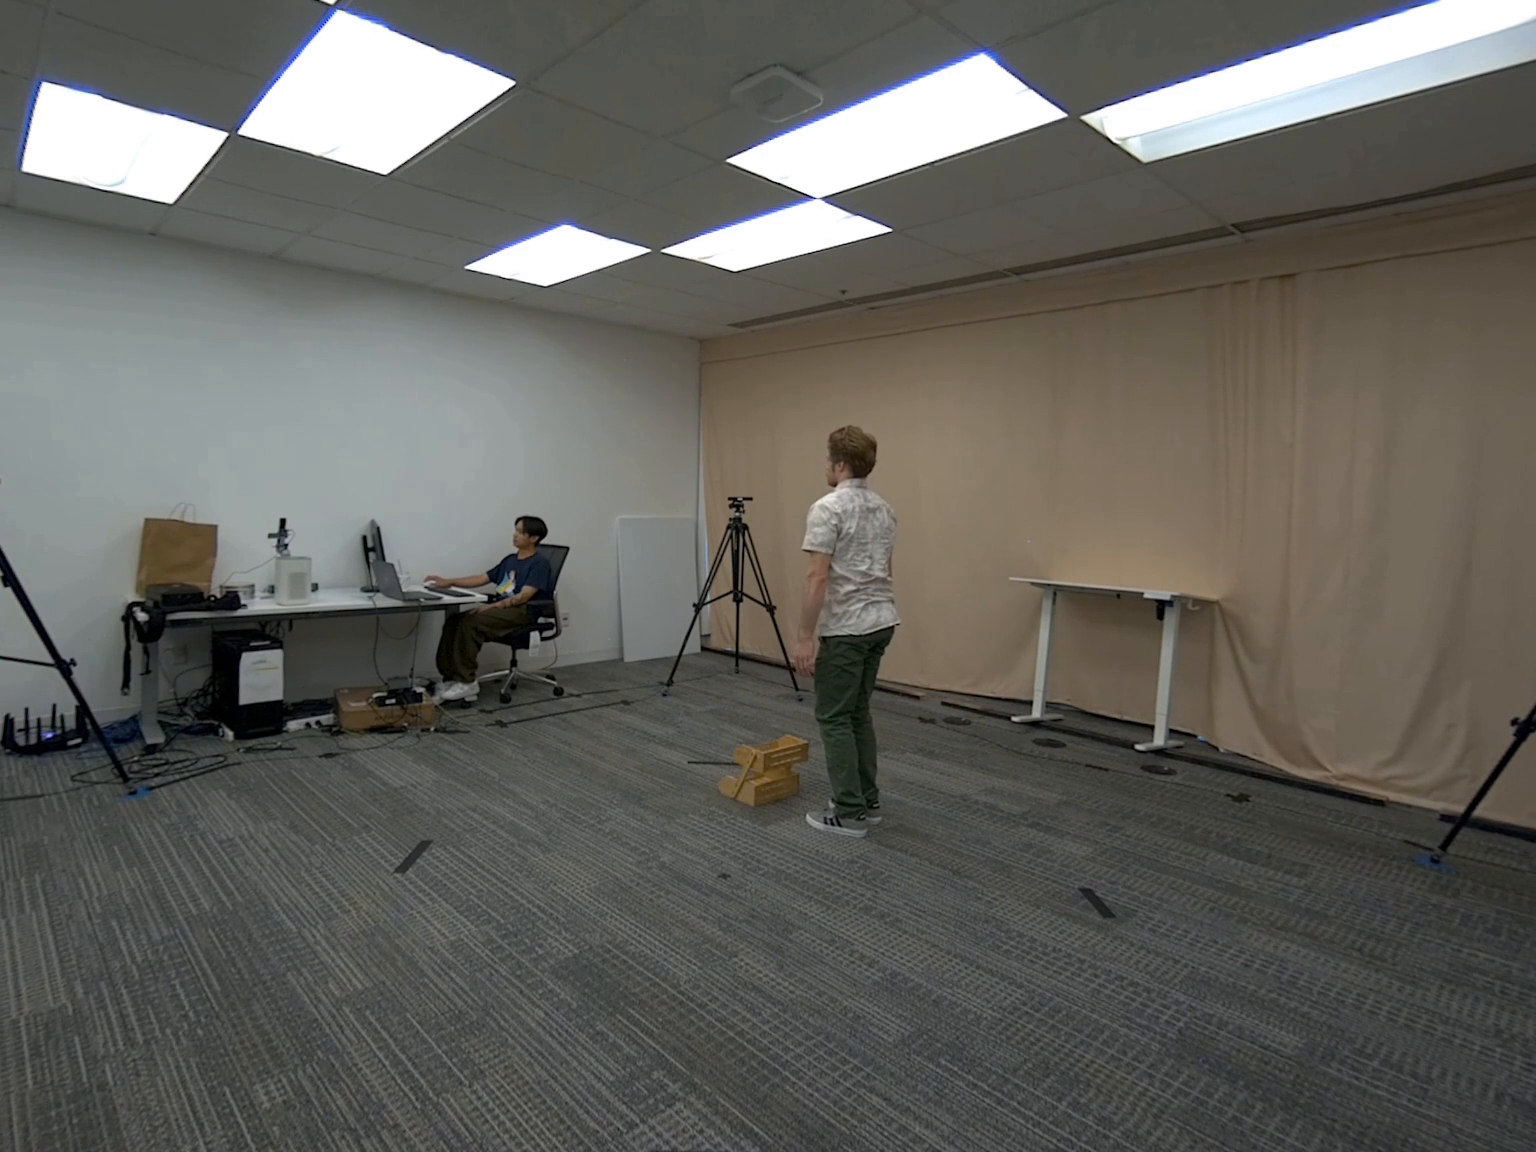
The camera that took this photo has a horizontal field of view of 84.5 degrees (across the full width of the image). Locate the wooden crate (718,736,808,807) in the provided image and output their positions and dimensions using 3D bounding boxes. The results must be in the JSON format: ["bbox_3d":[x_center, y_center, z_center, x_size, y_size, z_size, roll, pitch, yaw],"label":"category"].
[{"bbox_3d":[-0.033,0.902,3.999,0.317,0.272,0.310,-2,7,-44],"label":"wooden crate"}]
